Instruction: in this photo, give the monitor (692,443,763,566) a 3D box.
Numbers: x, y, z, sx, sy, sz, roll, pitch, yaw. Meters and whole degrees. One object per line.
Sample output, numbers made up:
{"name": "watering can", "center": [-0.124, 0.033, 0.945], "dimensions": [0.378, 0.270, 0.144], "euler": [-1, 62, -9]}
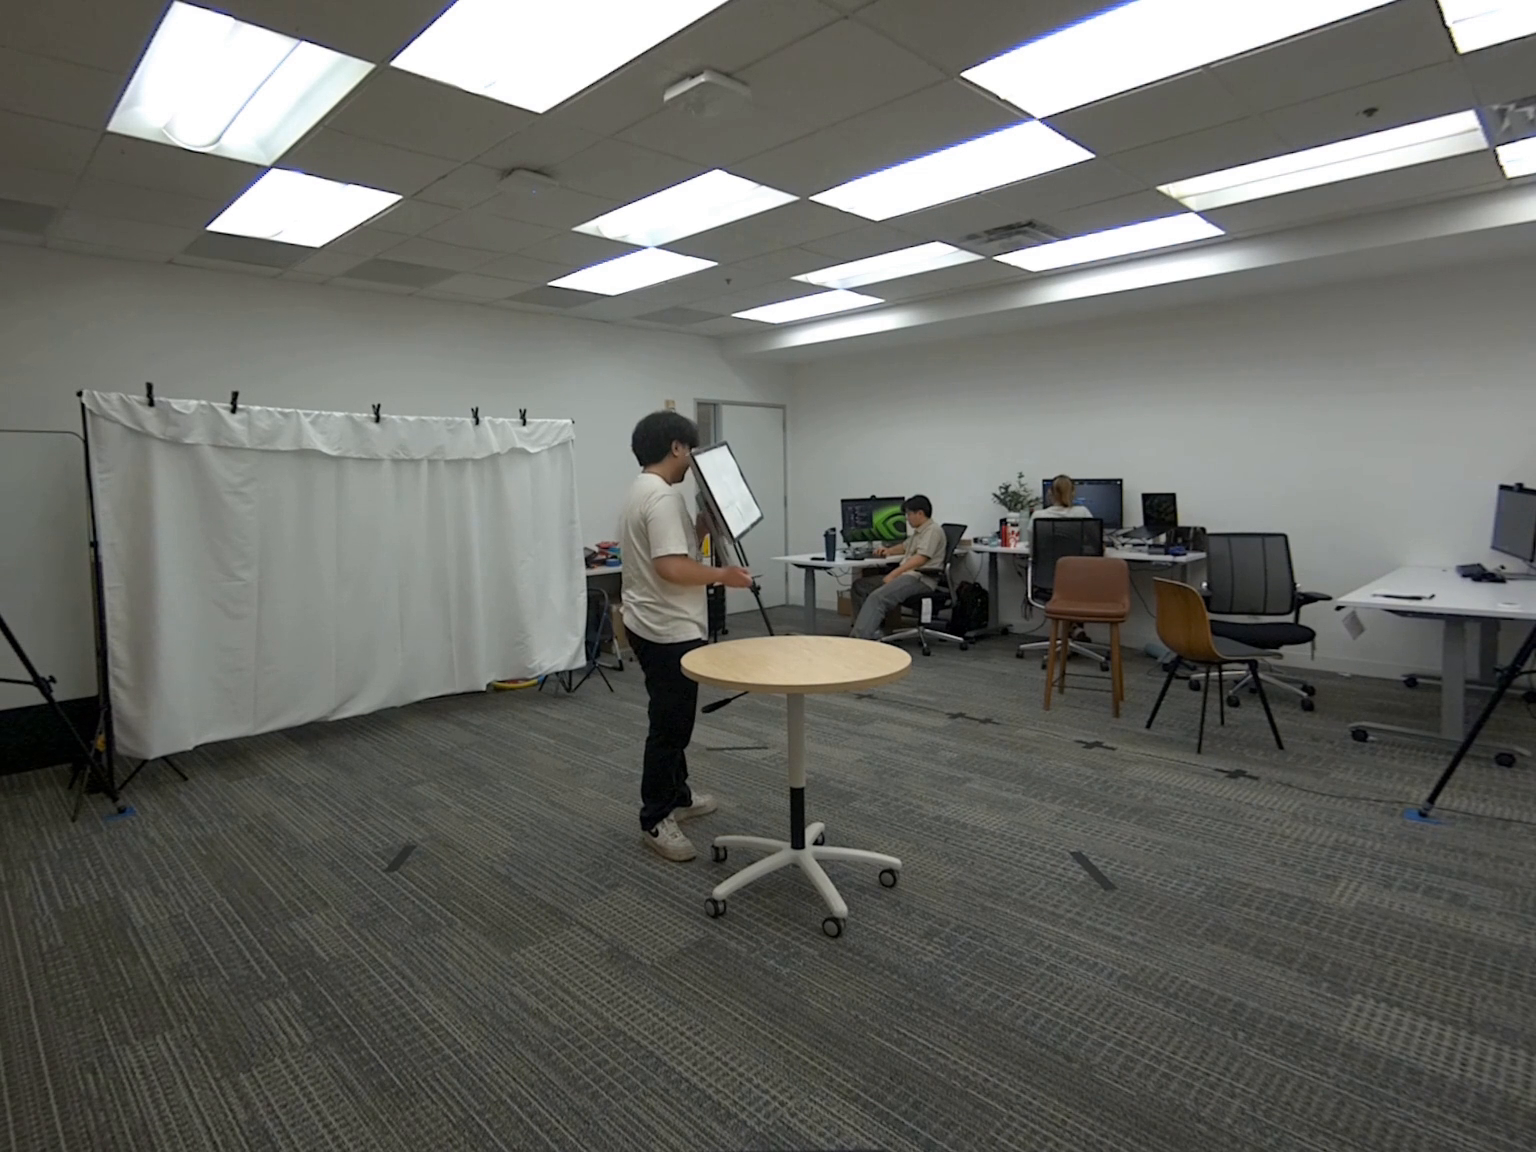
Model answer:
{"name": "monitor", "center": [-0.190, -0.237, 3.344], "dimensions": [0.212, 0.550, 0.564], "euler": [-18, 7, 14]}
